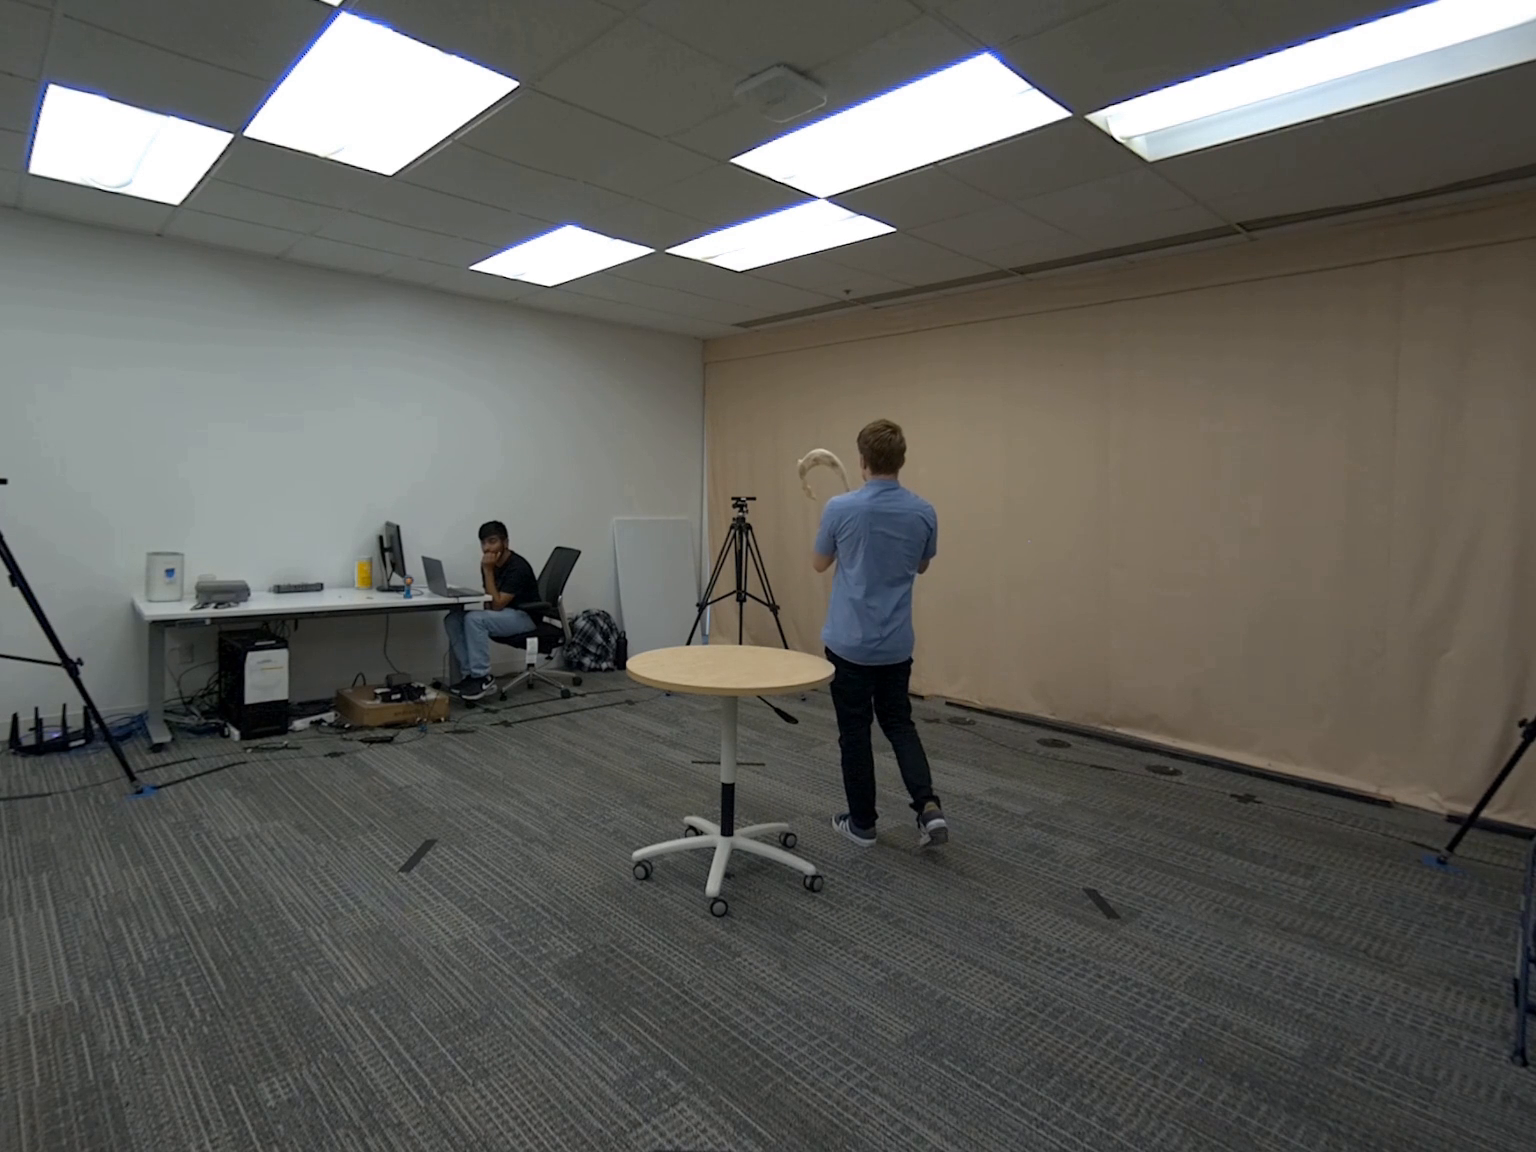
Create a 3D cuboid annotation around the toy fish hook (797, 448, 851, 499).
[{"bbox_3d":[0.316,-0.341,3.822,0.226,0.504,0.048,-33,4,29],"label":"toy fish hook"}]
